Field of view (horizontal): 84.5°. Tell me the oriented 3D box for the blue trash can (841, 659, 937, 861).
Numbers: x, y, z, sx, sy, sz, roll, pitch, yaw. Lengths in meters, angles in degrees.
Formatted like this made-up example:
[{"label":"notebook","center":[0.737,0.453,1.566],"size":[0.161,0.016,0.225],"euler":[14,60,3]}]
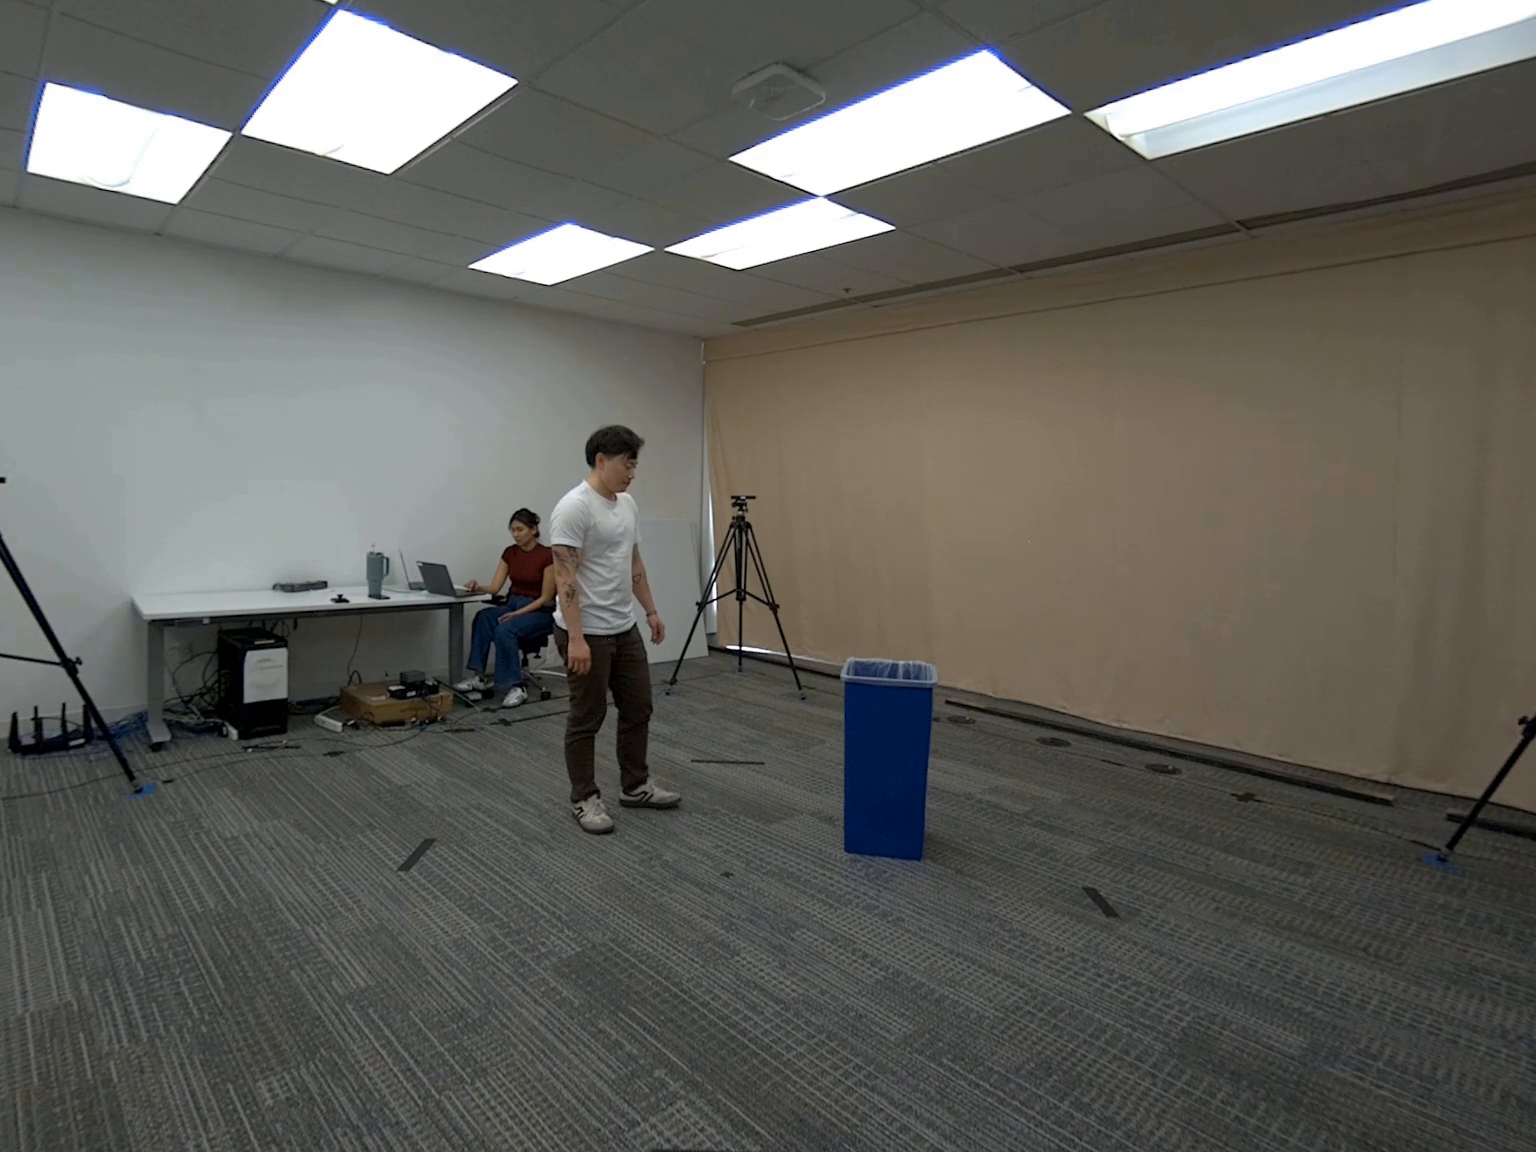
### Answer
[{"label":"blue trash can","center":[0.464,0.731,3.425],"size":[0.377,0.712,0.376],"euler":[3,4,10]}]
